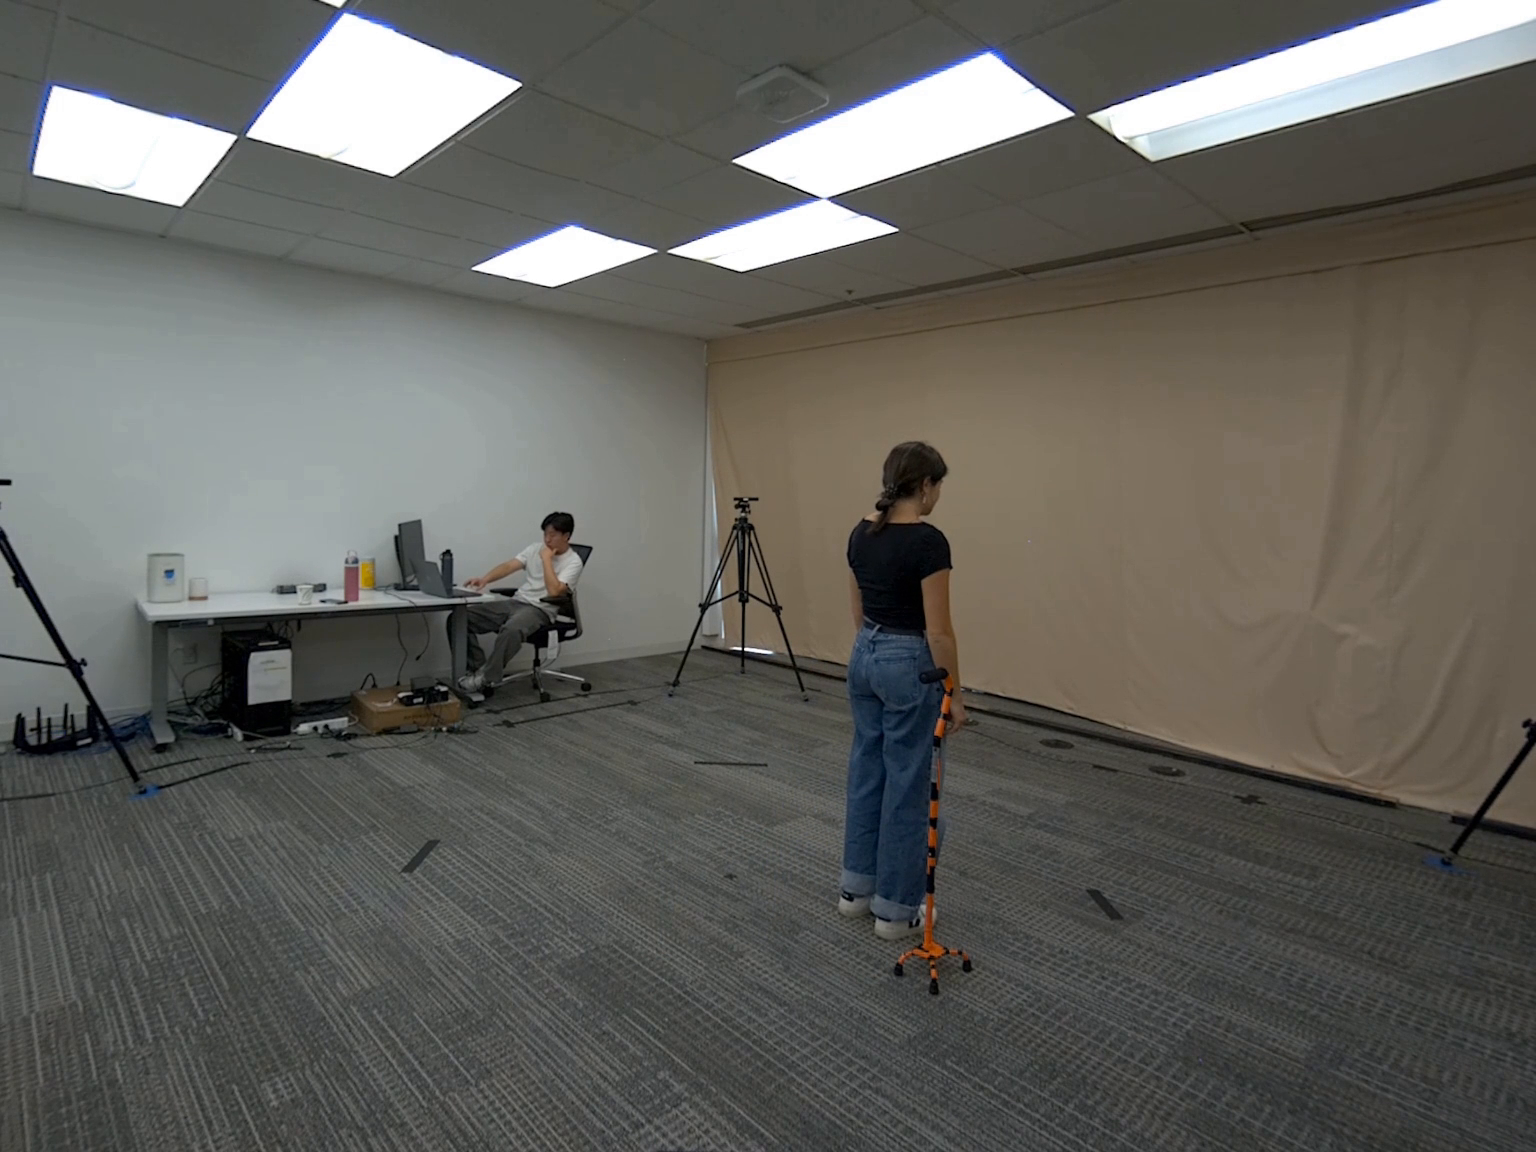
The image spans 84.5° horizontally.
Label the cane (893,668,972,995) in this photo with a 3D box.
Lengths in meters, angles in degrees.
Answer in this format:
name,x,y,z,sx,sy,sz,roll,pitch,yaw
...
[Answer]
name,x,y,z,sx,sy,sz,roll,pitch,yaw
cane,0.493,0.734,2.468,0.155,0.906,0.202,4,4,45
